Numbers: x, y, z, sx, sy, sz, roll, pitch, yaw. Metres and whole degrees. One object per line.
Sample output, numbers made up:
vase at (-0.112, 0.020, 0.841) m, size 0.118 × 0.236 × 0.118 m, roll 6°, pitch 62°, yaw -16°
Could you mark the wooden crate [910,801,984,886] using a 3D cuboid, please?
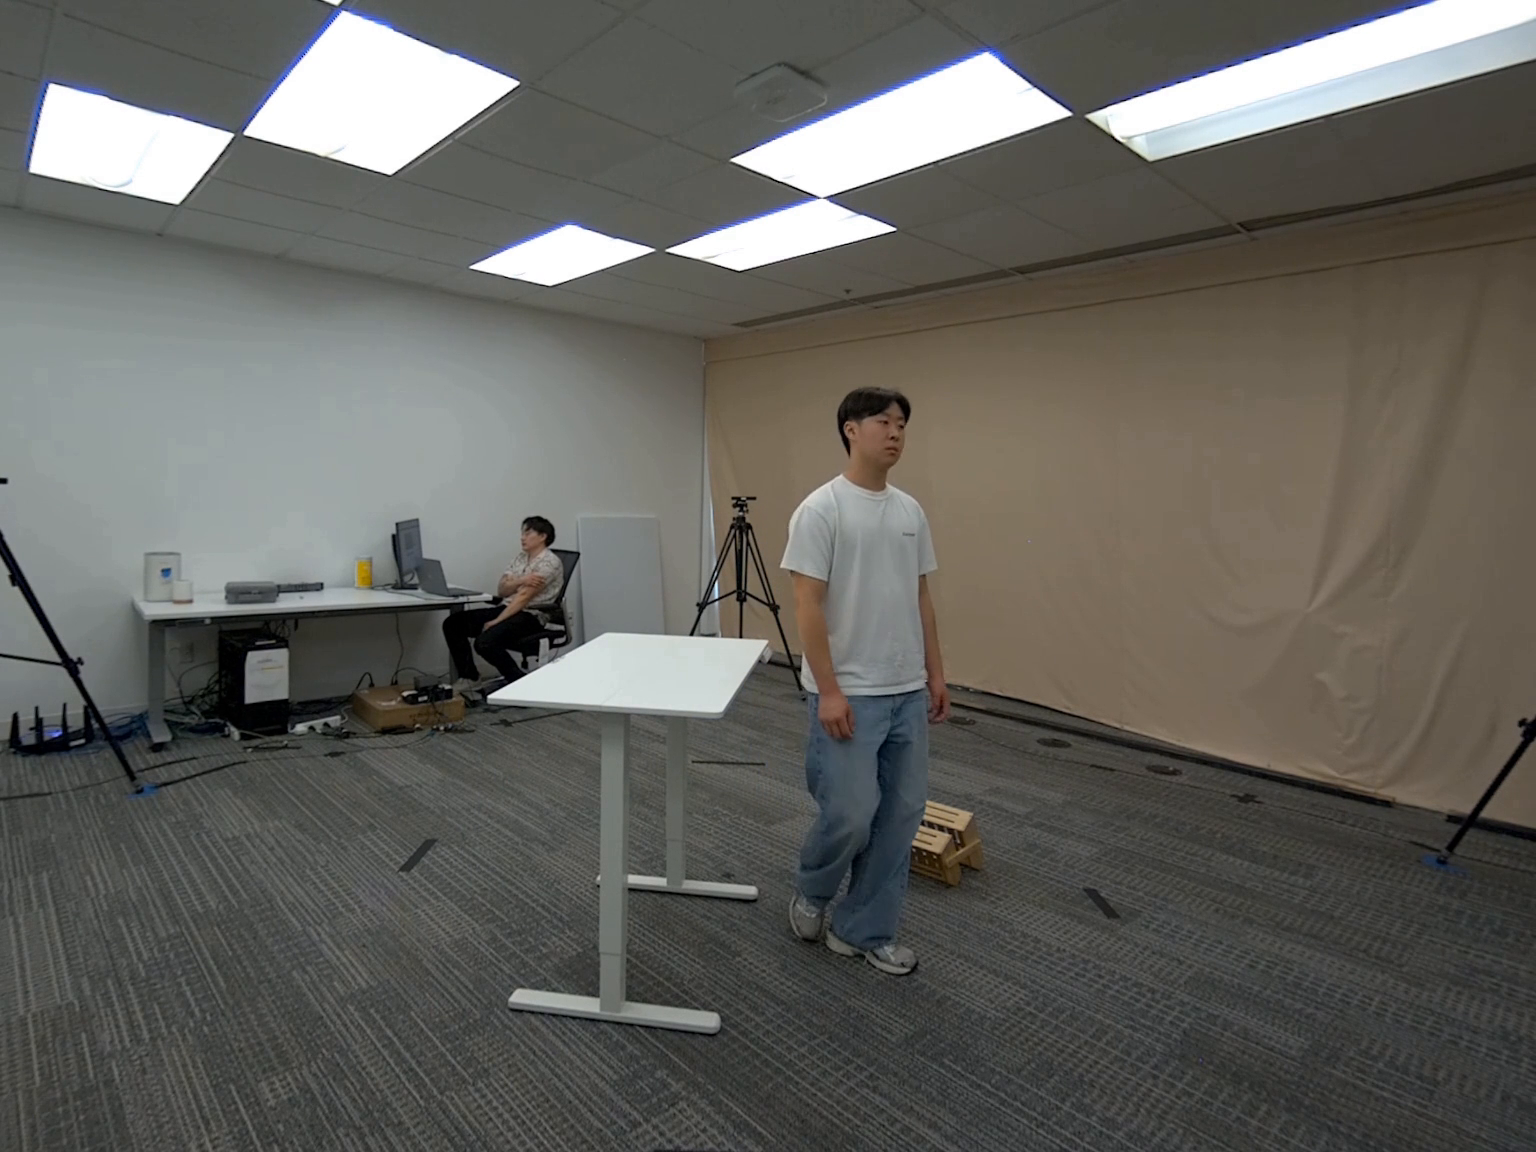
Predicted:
wooden crate at (0.594, 1.028, 3.192) m, size 0.332 × 0.296 × 0.272 m, roll 5°, pitch 33°, yaw 40°
